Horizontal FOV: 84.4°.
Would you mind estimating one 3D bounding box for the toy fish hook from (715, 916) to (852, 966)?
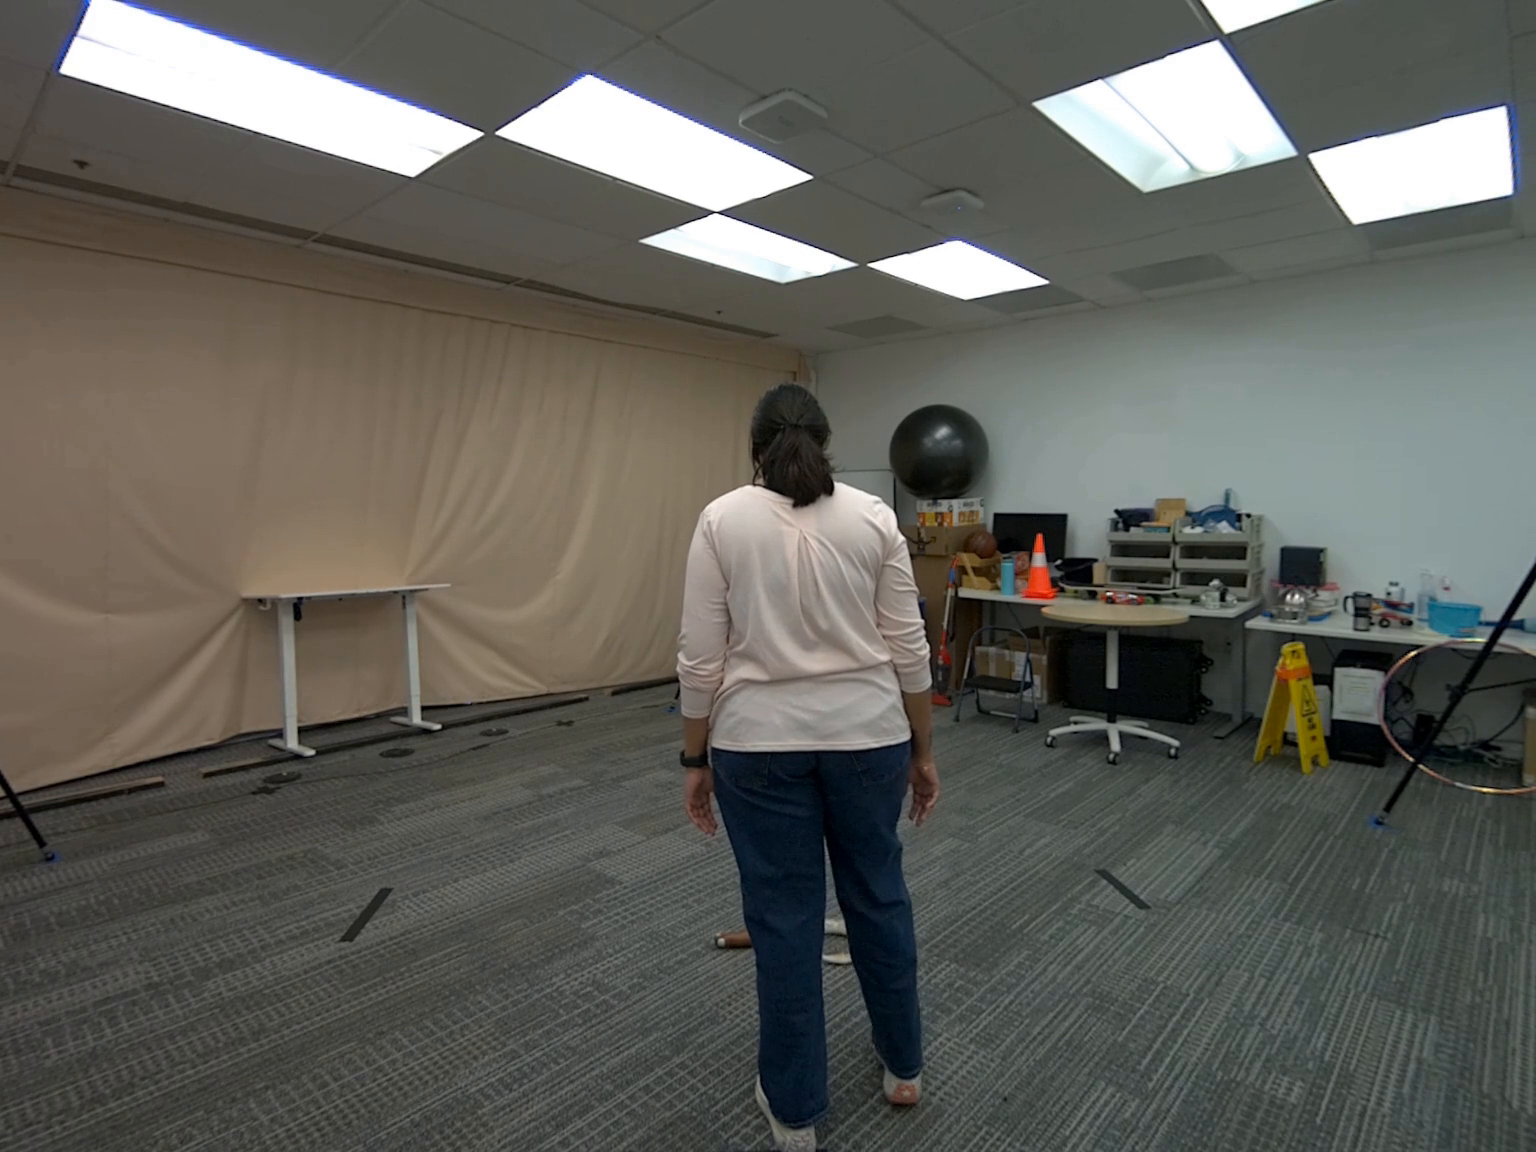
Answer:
[{"bbox_3d":[0.090,1.150,2.636,0.501,0.048,0.227,-1,3,-10],"label":"toy fish hook"}]
